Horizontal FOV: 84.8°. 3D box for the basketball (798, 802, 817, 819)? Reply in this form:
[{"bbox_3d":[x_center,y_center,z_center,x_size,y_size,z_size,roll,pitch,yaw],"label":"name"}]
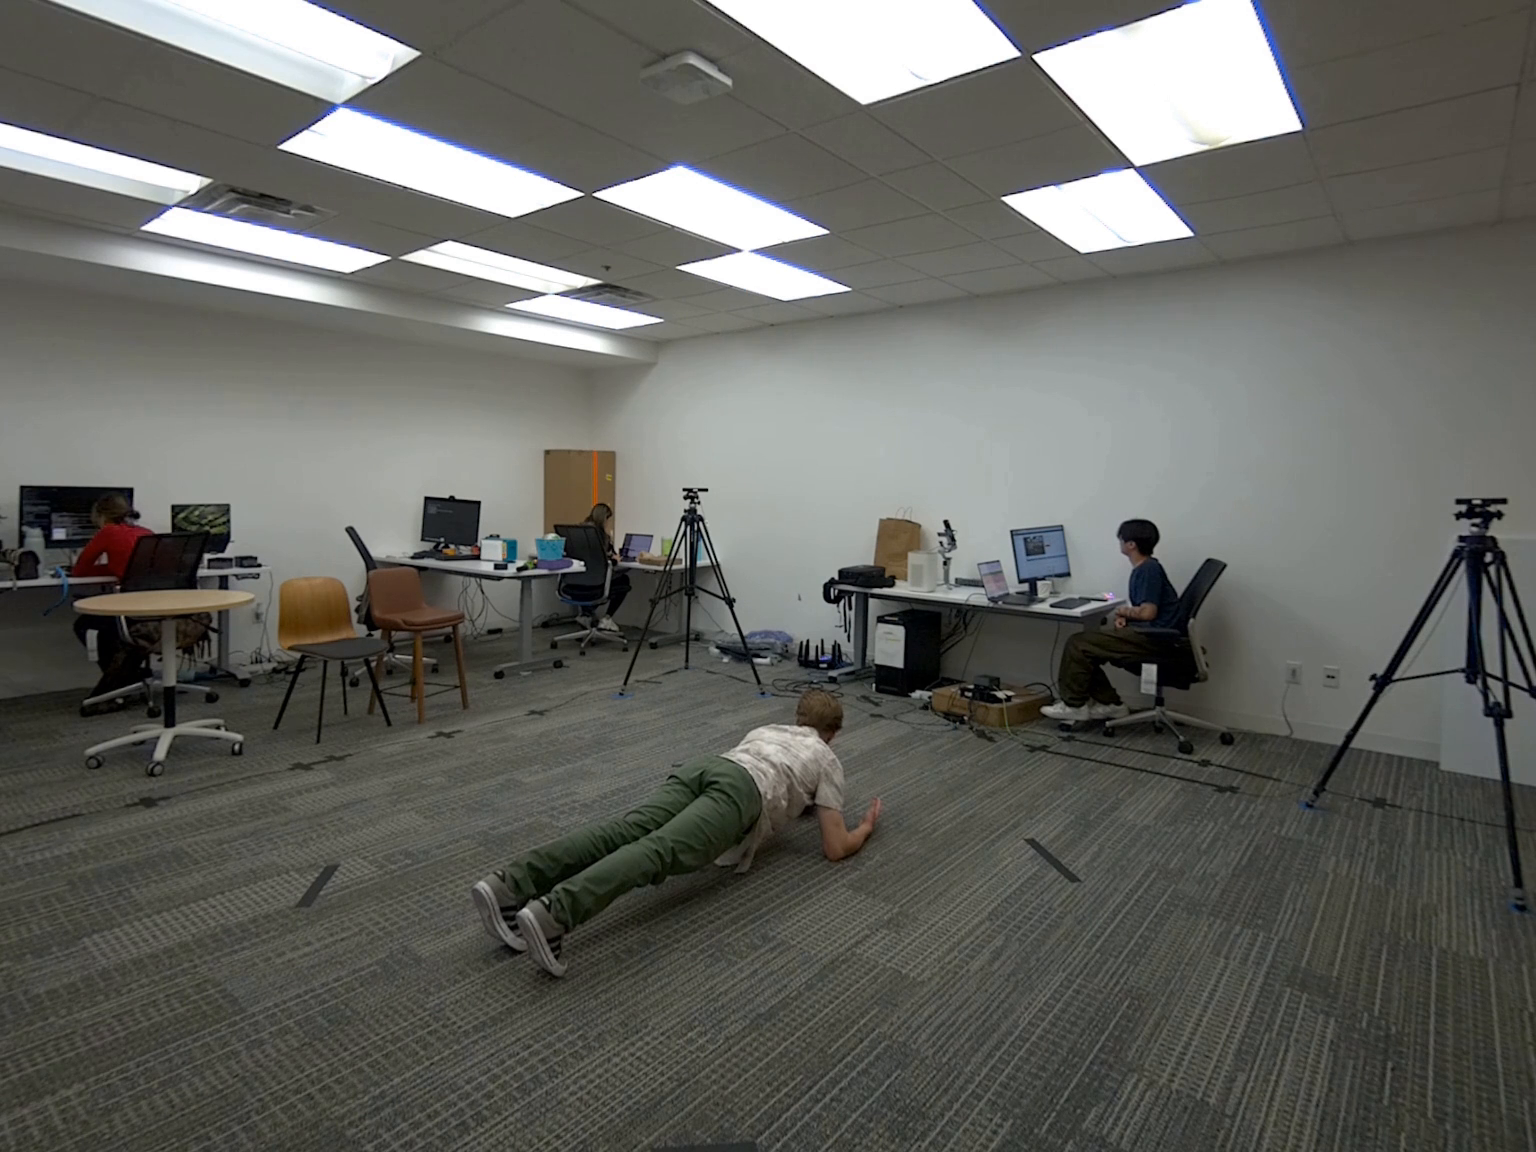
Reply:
[{"bbox_3d":[0.139,0.891,3.702,0.235,0.235,0.237,1,4,-2],"label":"basketball"}]
